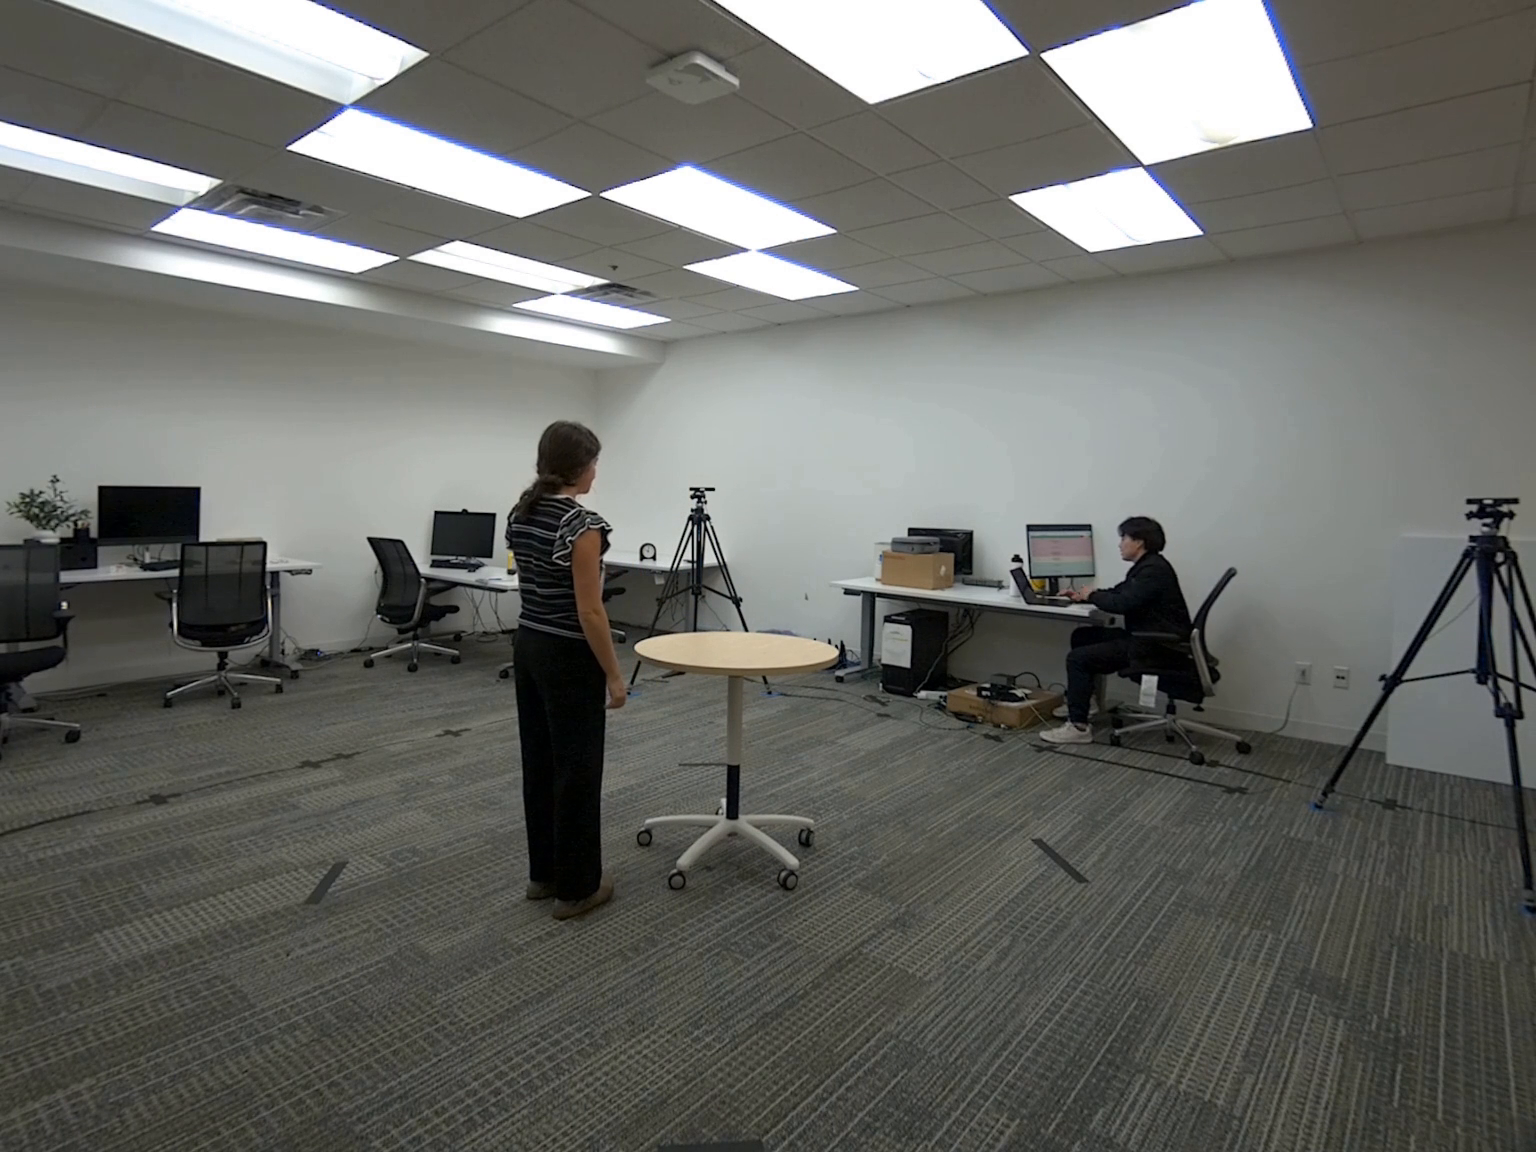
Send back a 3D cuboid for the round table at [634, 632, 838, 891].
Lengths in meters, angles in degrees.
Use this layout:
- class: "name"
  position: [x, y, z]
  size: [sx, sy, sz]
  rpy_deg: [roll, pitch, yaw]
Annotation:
- class: "round table"
  position: [-0.140, 0.664, 3.220]
  size: [0.763, 0.792, 0.767]
  rpy_deg: [1, 3, -2]
